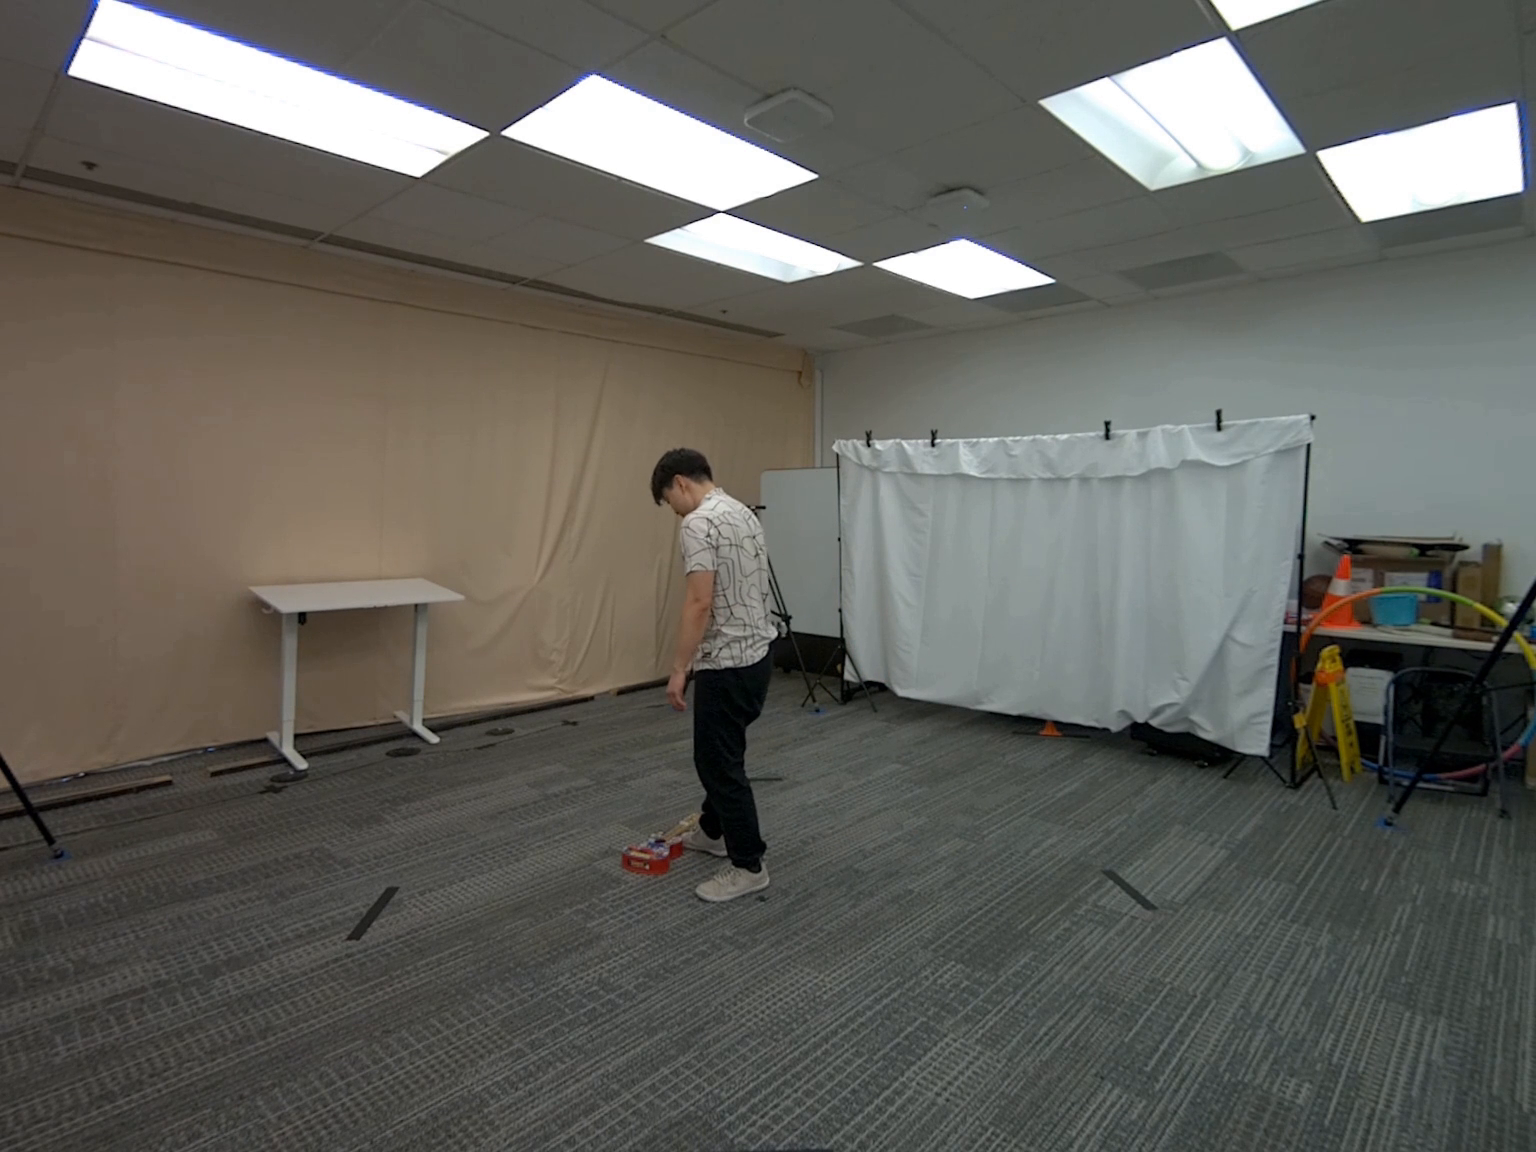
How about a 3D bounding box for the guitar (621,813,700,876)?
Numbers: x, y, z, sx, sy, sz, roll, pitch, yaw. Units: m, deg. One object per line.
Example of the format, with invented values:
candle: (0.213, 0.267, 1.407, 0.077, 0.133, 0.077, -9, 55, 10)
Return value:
guitar: (-0.377, 1.079, 3.401, 0.199, 0.070, 0.484, 3, 6, 34)
